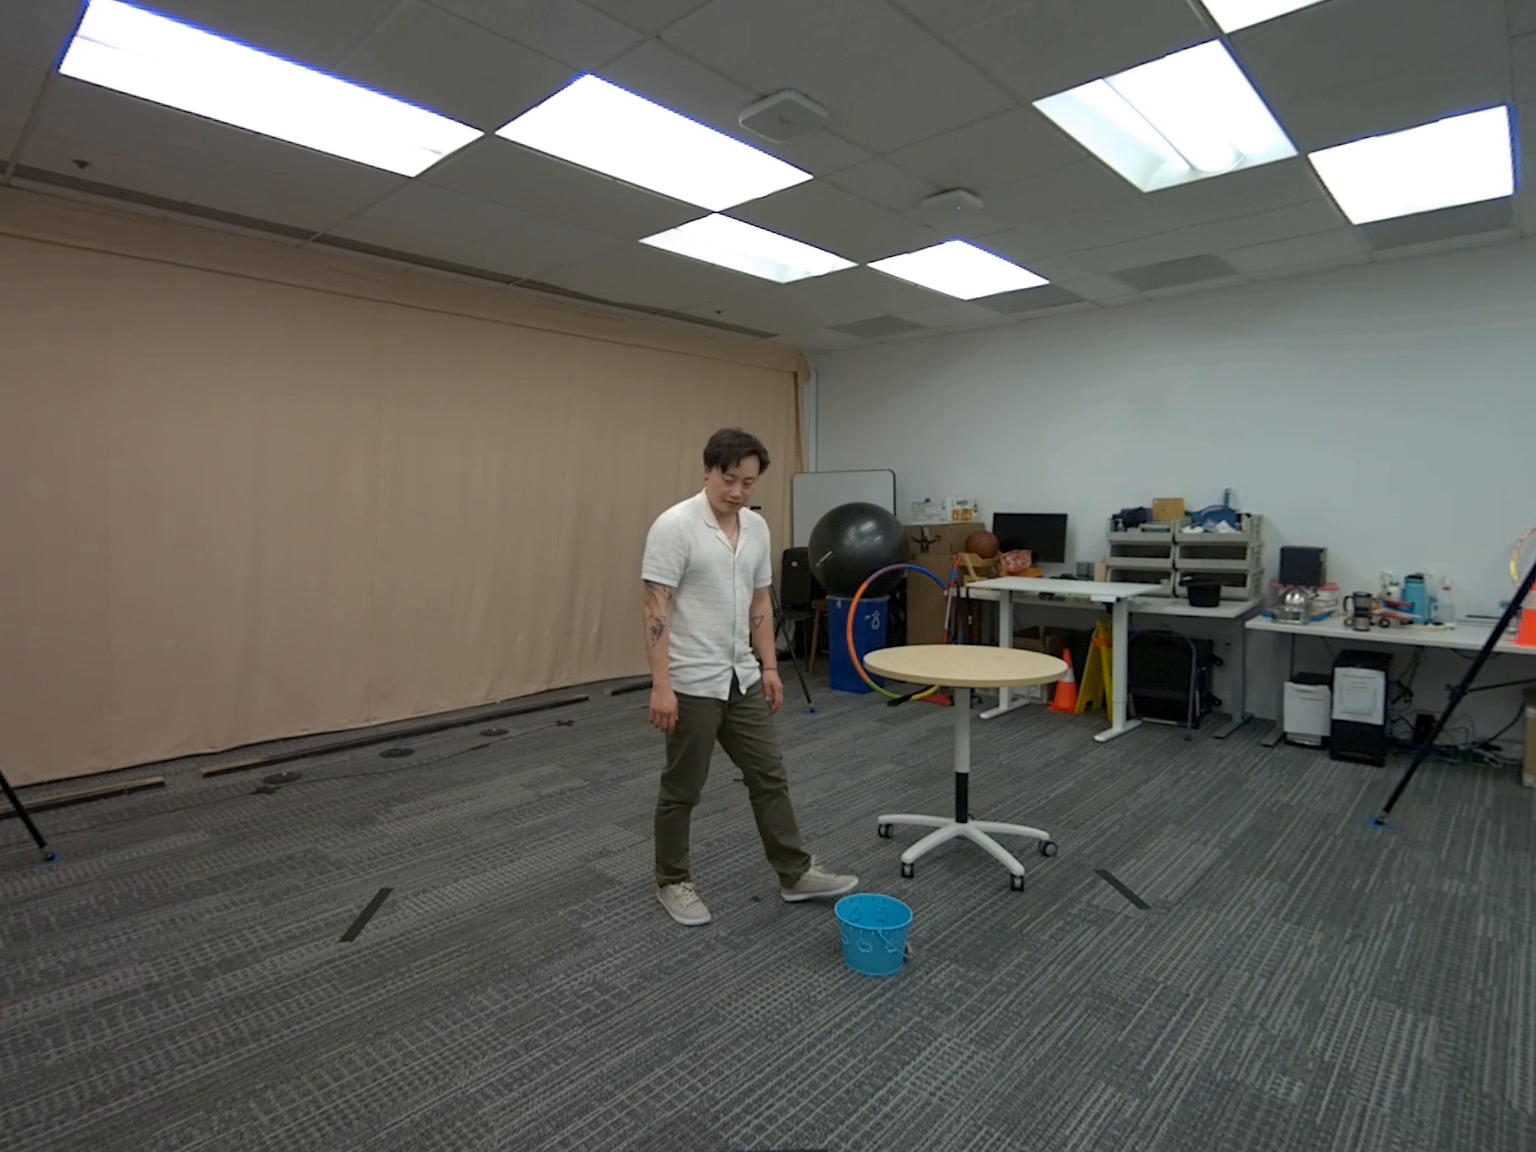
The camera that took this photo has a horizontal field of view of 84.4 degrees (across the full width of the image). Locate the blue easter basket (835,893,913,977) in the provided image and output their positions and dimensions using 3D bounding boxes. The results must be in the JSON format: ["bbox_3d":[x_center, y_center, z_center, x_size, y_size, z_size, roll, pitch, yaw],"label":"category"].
[{"bbox_3d":[0.333,1.098,2.578,0.243,0.155,0.244,-1,4,-2],"label":"blue easter basket"}]
